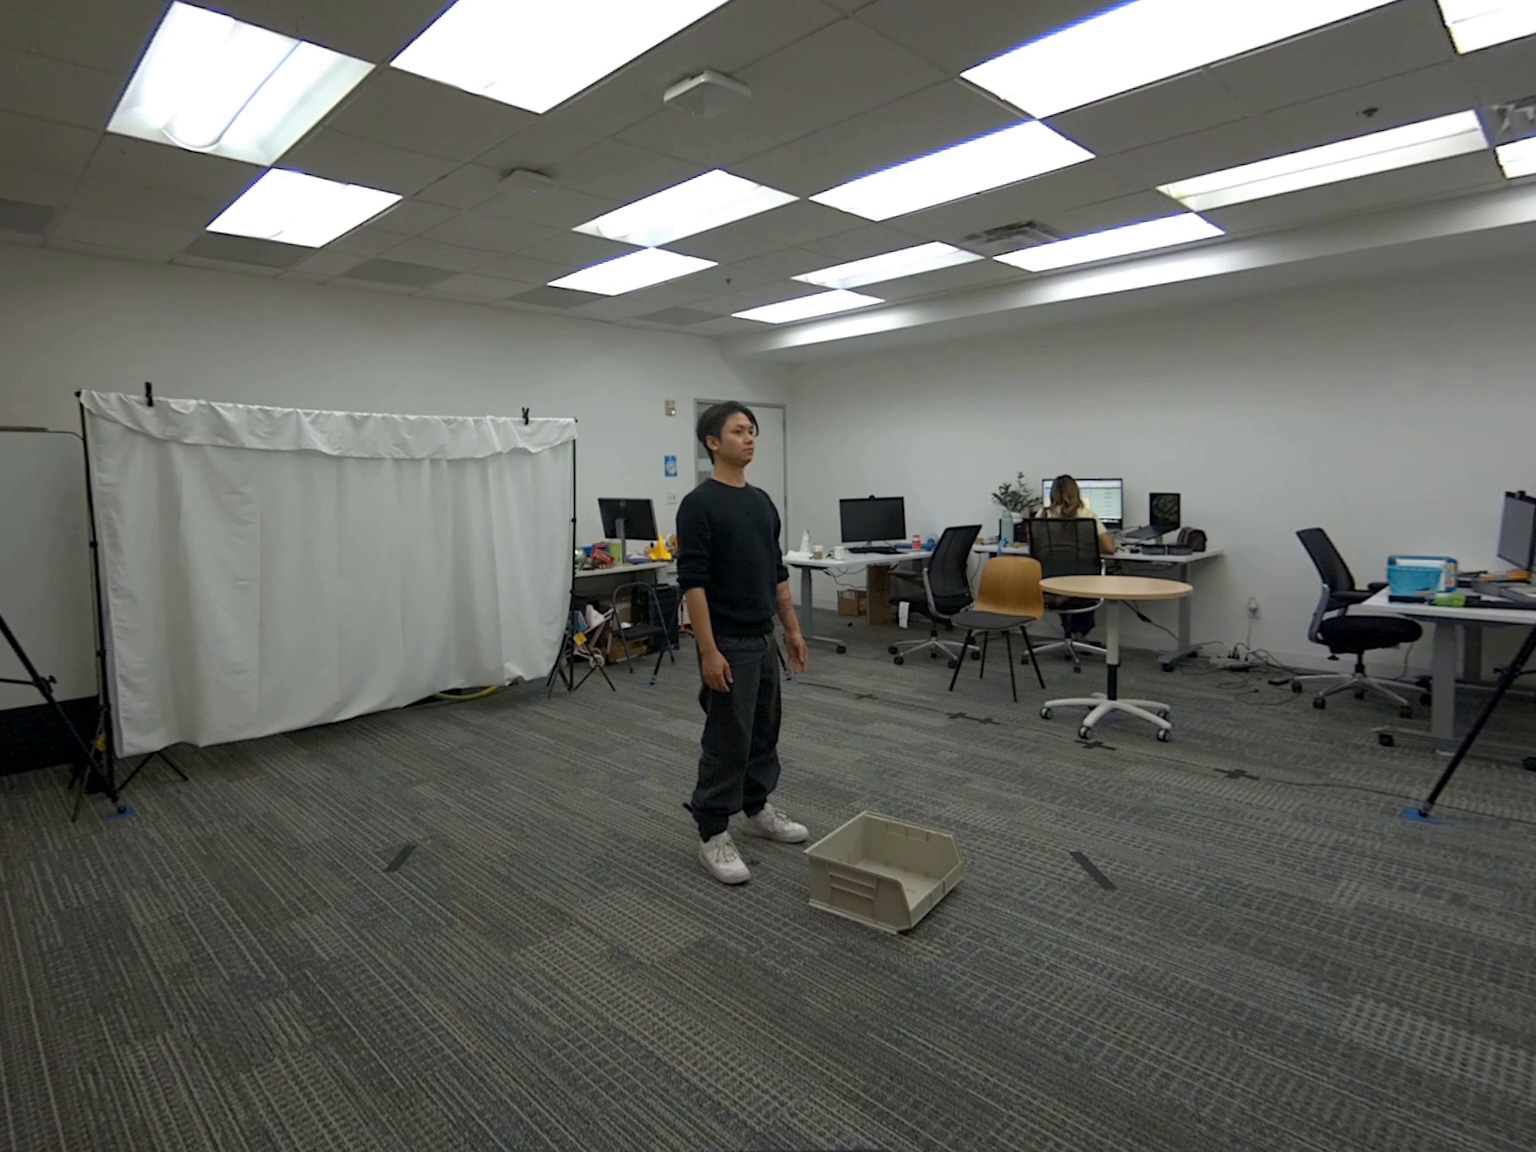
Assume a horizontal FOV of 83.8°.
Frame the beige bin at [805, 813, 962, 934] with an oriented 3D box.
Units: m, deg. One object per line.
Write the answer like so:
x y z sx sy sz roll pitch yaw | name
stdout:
0.394 0.979 2.836 0.388 0.188 0.412 2 7 36 | beige bin
